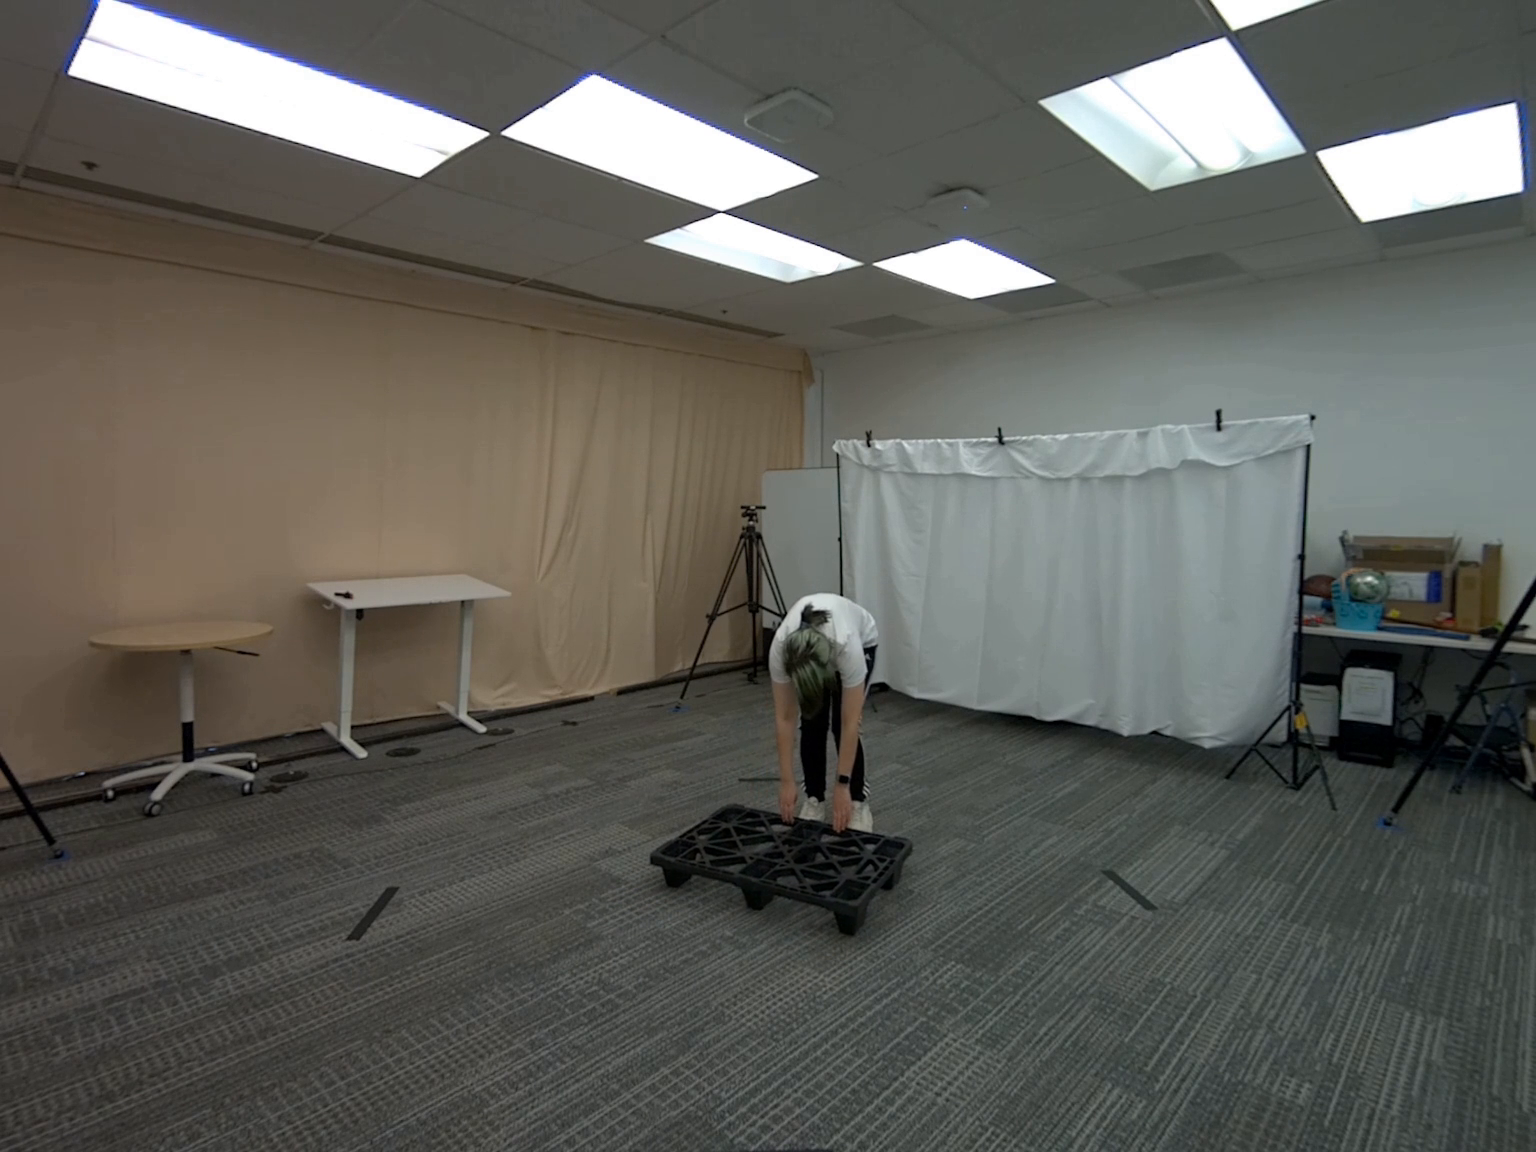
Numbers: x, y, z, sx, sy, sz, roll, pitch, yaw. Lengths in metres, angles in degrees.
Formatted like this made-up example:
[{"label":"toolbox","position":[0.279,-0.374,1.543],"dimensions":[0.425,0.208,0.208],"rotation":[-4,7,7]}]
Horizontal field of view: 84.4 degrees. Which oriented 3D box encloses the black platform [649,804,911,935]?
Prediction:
[{"label":"black platform","position":[0.053,1.066,3.105],"dimensions":[0.829,0.143,0.589],"rotation":[3,6,29]}]
